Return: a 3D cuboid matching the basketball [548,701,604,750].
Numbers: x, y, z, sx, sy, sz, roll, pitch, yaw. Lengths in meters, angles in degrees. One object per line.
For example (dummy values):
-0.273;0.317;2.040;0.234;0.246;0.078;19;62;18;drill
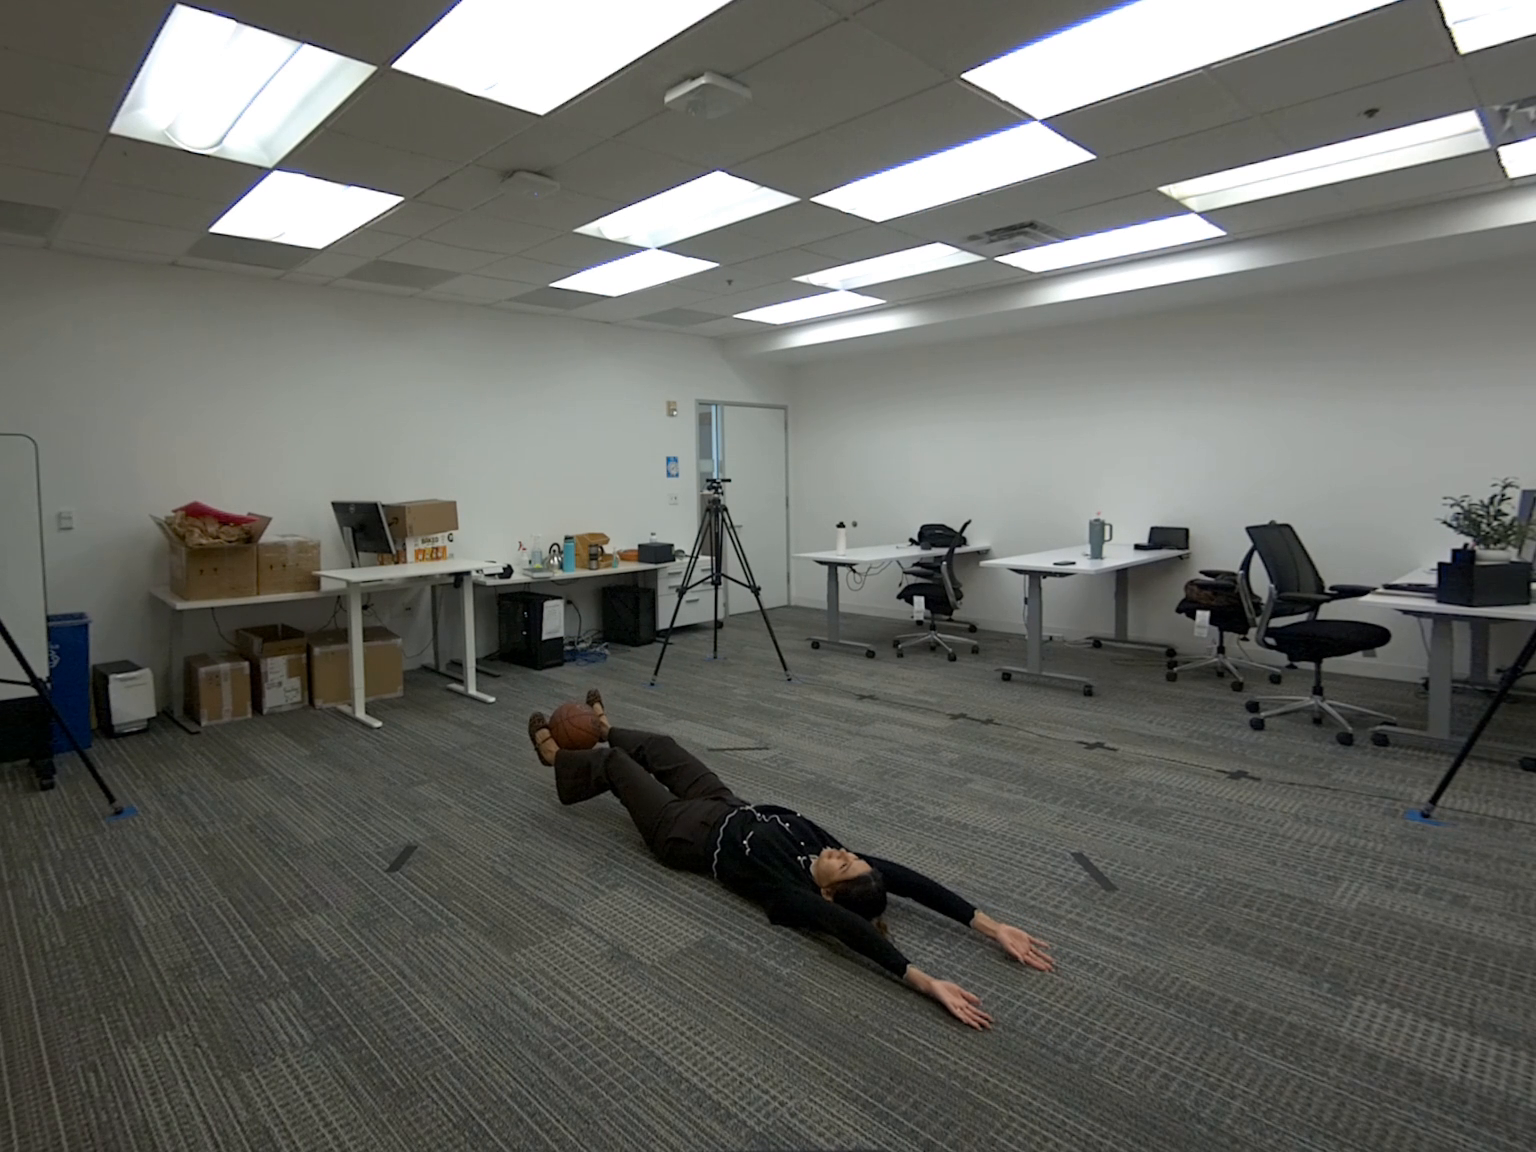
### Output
-0.859;0.680;3.801;0.236;0.235;0.237;-1;5;-2;basketball
